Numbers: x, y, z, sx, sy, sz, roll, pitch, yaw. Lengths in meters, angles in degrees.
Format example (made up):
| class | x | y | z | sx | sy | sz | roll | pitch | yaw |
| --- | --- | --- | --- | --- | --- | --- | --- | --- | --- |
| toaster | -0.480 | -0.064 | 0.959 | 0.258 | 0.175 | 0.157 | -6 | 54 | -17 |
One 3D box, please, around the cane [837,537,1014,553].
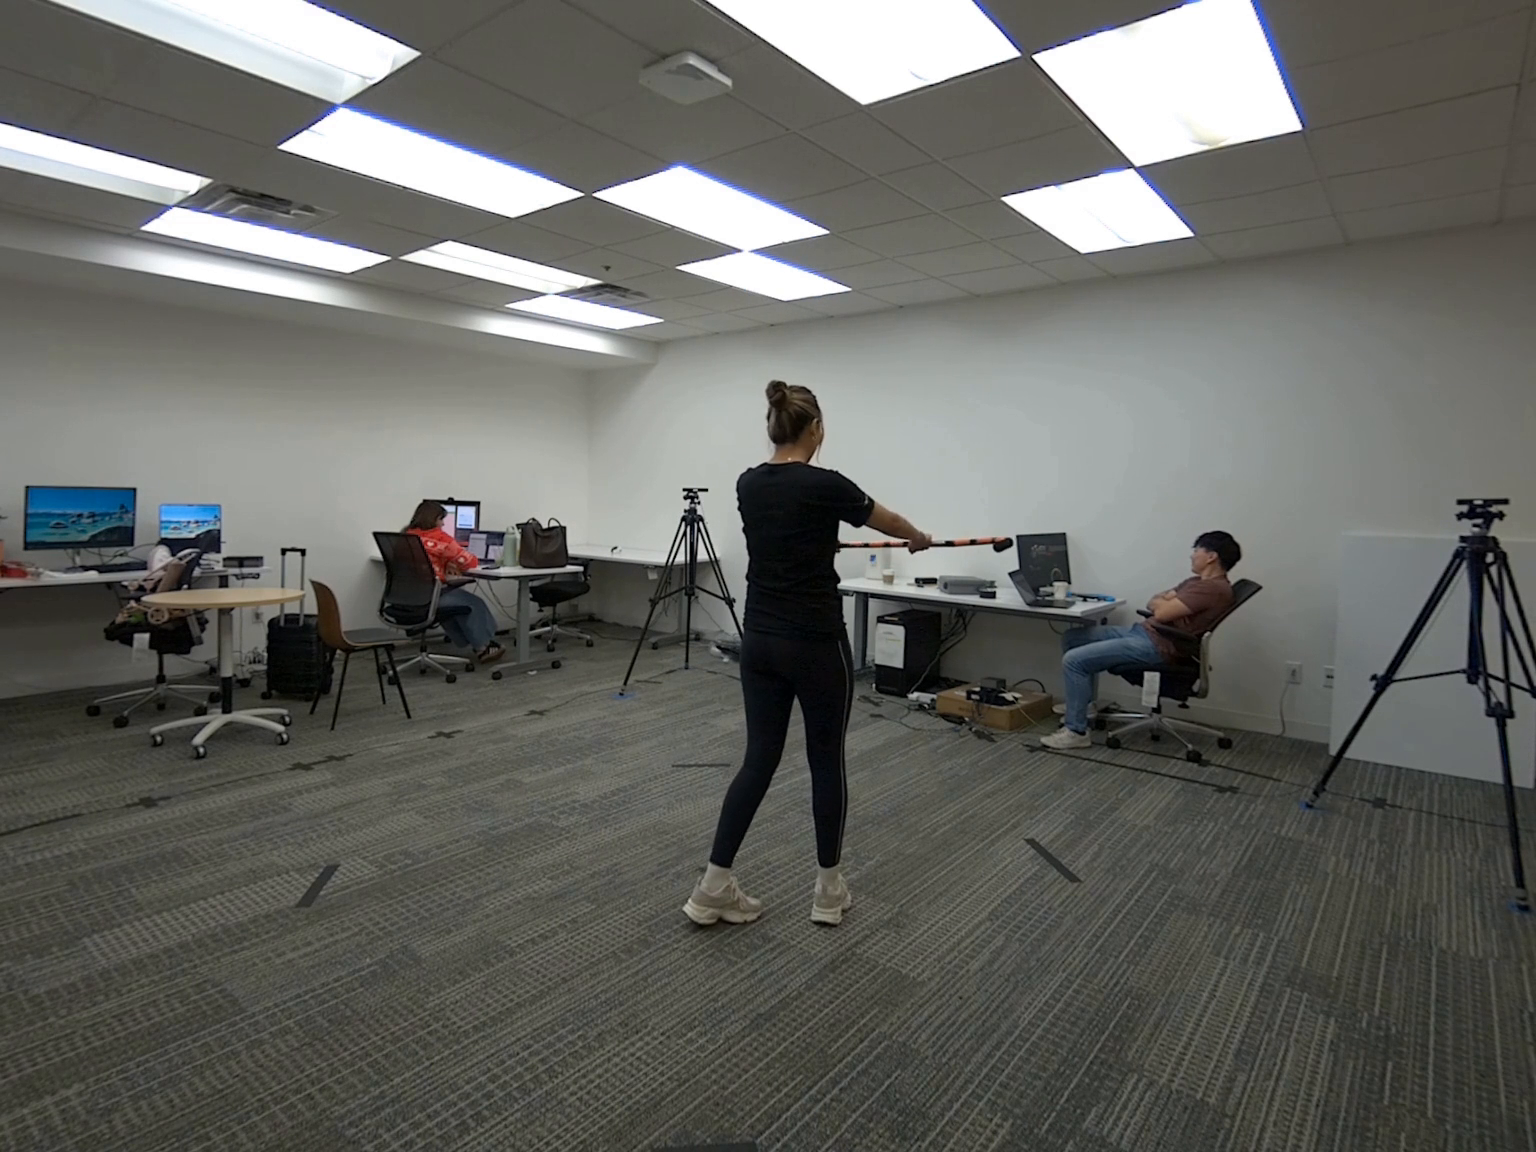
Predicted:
| class | x | y | z | sx | sy | sz | roll | pitch | yaw |
| --- | --- | --- | --- | --- | --- | --- | --- | --- | --- |
| cane | 0.433 | -0.103 | 3.130 | 0.936 | 0.151 | 0.201 | 0 | 7 | 37 |
